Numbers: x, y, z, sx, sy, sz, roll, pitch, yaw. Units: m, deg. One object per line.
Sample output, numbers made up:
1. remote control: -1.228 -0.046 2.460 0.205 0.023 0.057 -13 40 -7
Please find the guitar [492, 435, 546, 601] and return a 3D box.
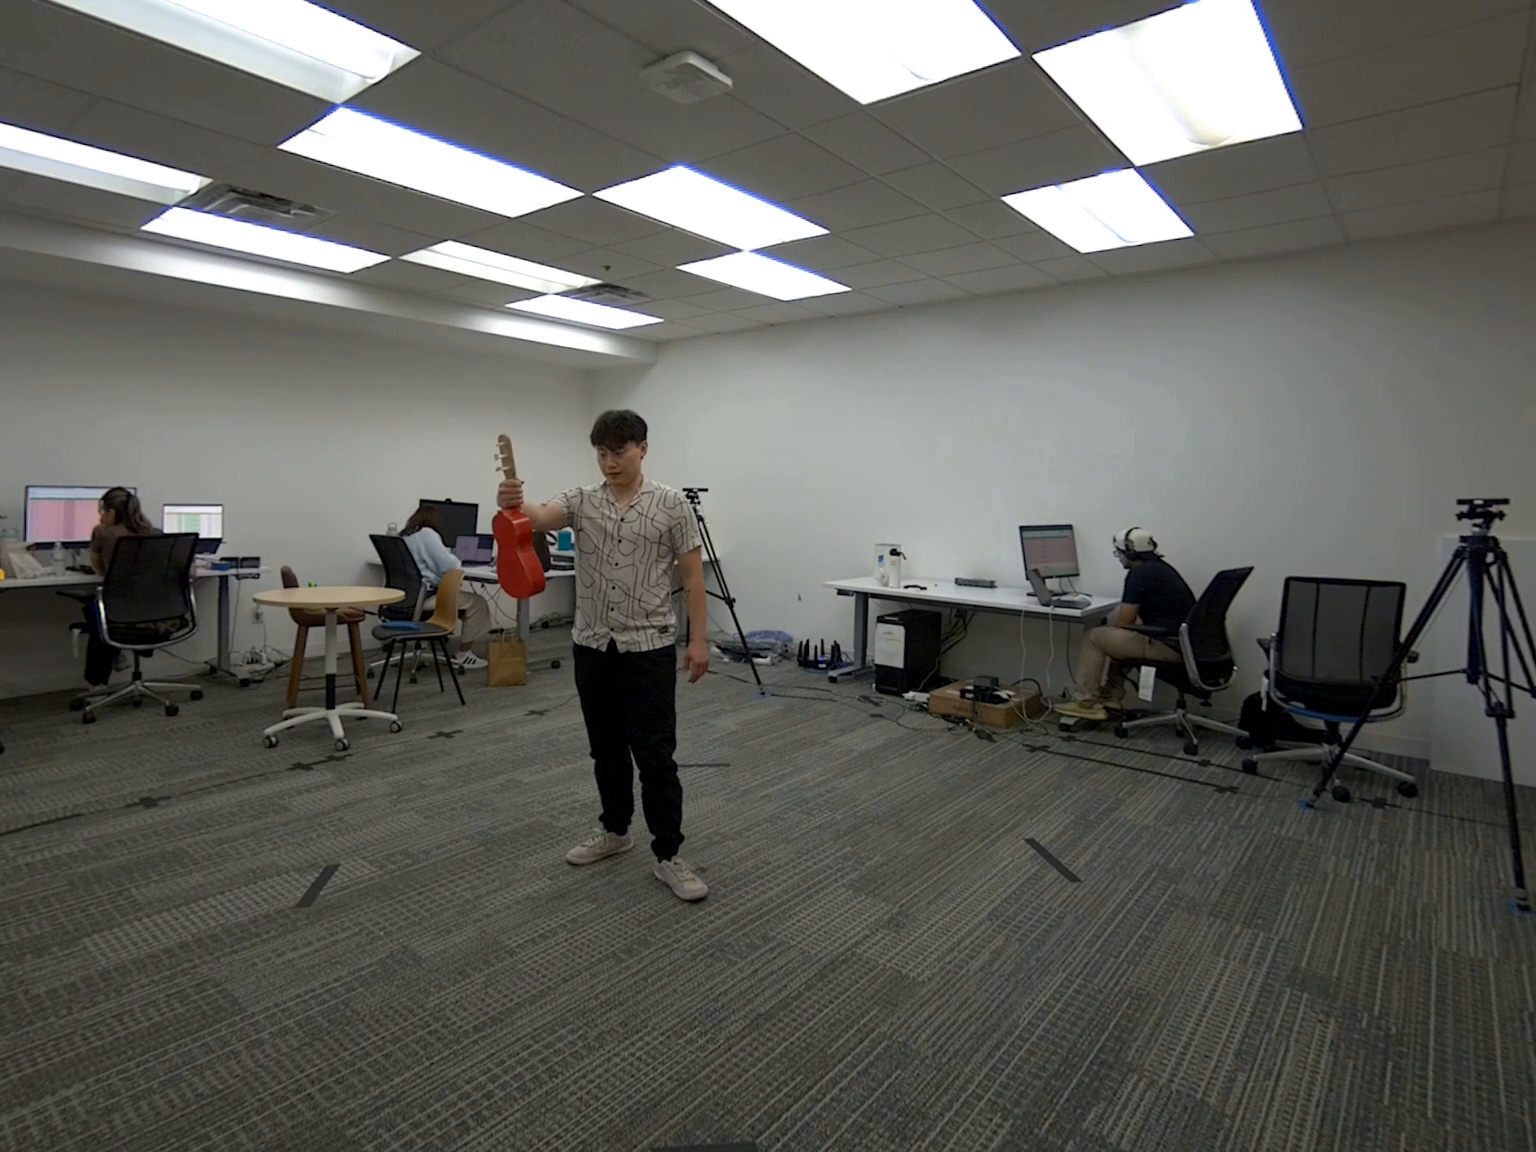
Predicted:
1. guitar: -0.806 -0.180 2.608 0.069 0.494 0.198 -17 7 -42
